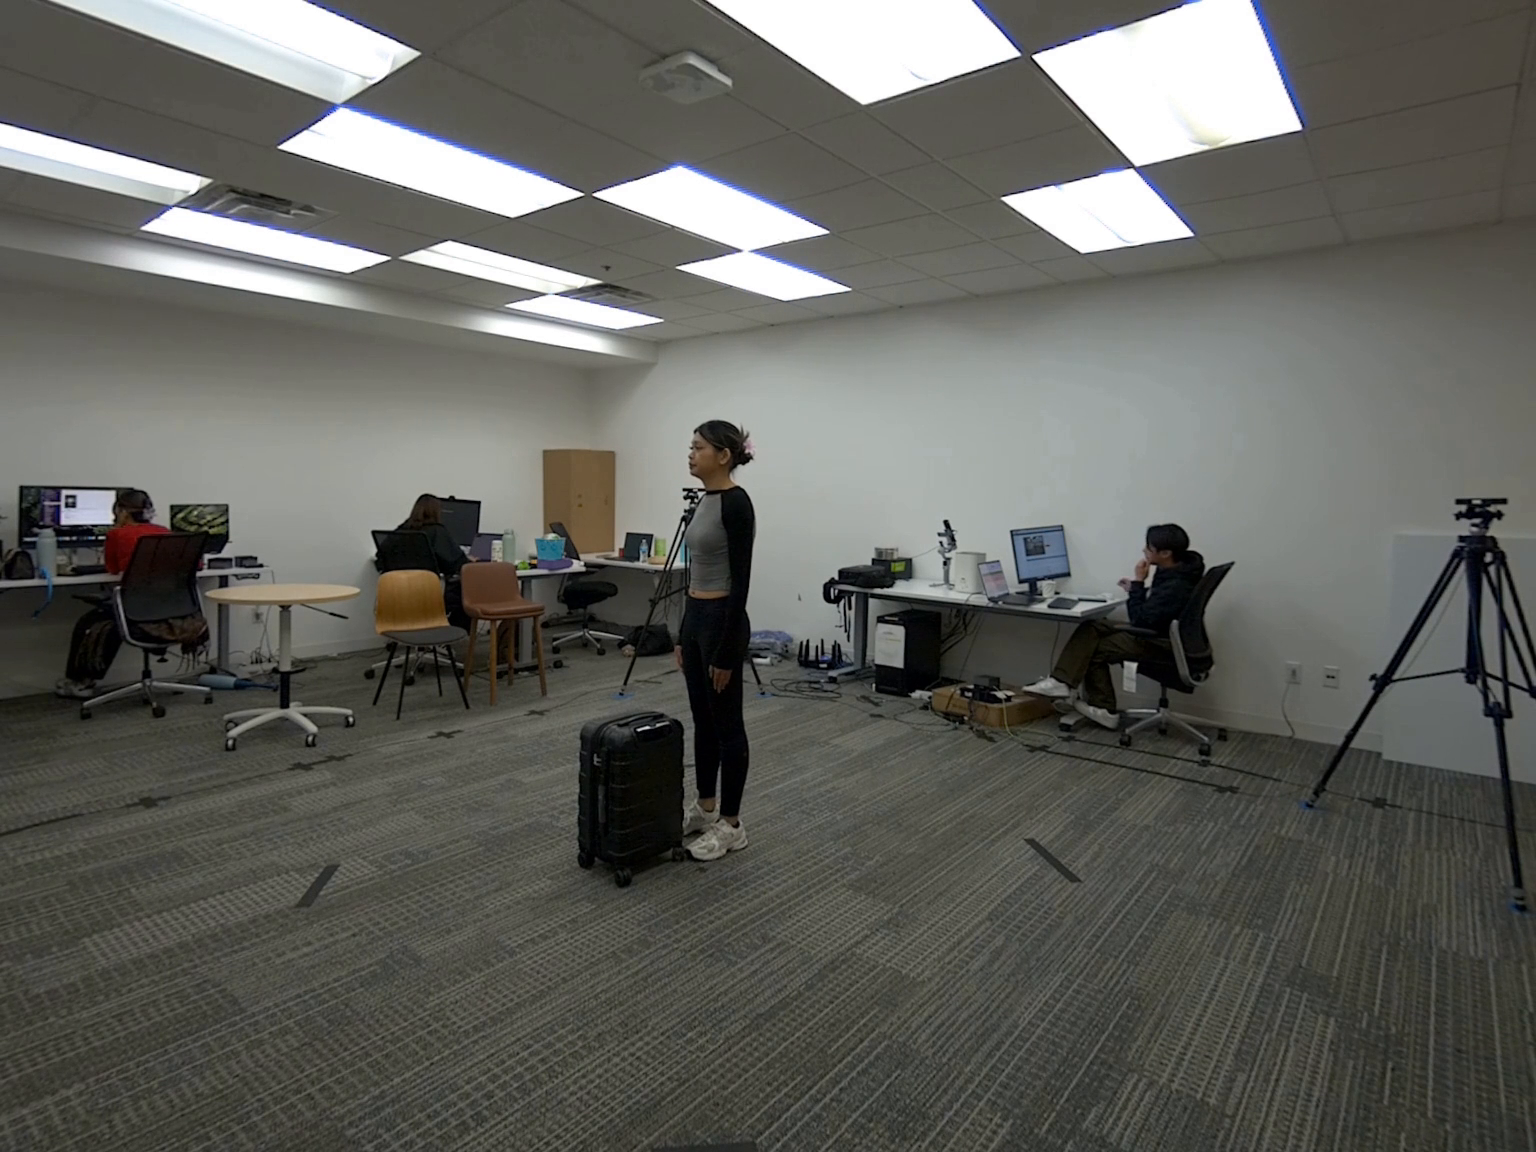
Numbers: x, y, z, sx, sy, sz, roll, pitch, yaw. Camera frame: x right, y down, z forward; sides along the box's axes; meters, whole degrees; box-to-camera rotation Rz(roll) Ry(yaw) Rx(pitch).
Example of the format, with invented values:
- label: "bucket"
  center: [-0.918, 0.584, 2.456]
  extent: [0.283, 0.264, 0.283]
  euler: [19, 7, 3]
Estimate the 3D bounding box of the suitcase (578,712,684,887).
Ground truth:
- label: "suitcase"
  center: [-0.521, 0.786, 3.149]
  extent: [0.256, 0.549, 0.364]
  euler: [1, 2, 40]
